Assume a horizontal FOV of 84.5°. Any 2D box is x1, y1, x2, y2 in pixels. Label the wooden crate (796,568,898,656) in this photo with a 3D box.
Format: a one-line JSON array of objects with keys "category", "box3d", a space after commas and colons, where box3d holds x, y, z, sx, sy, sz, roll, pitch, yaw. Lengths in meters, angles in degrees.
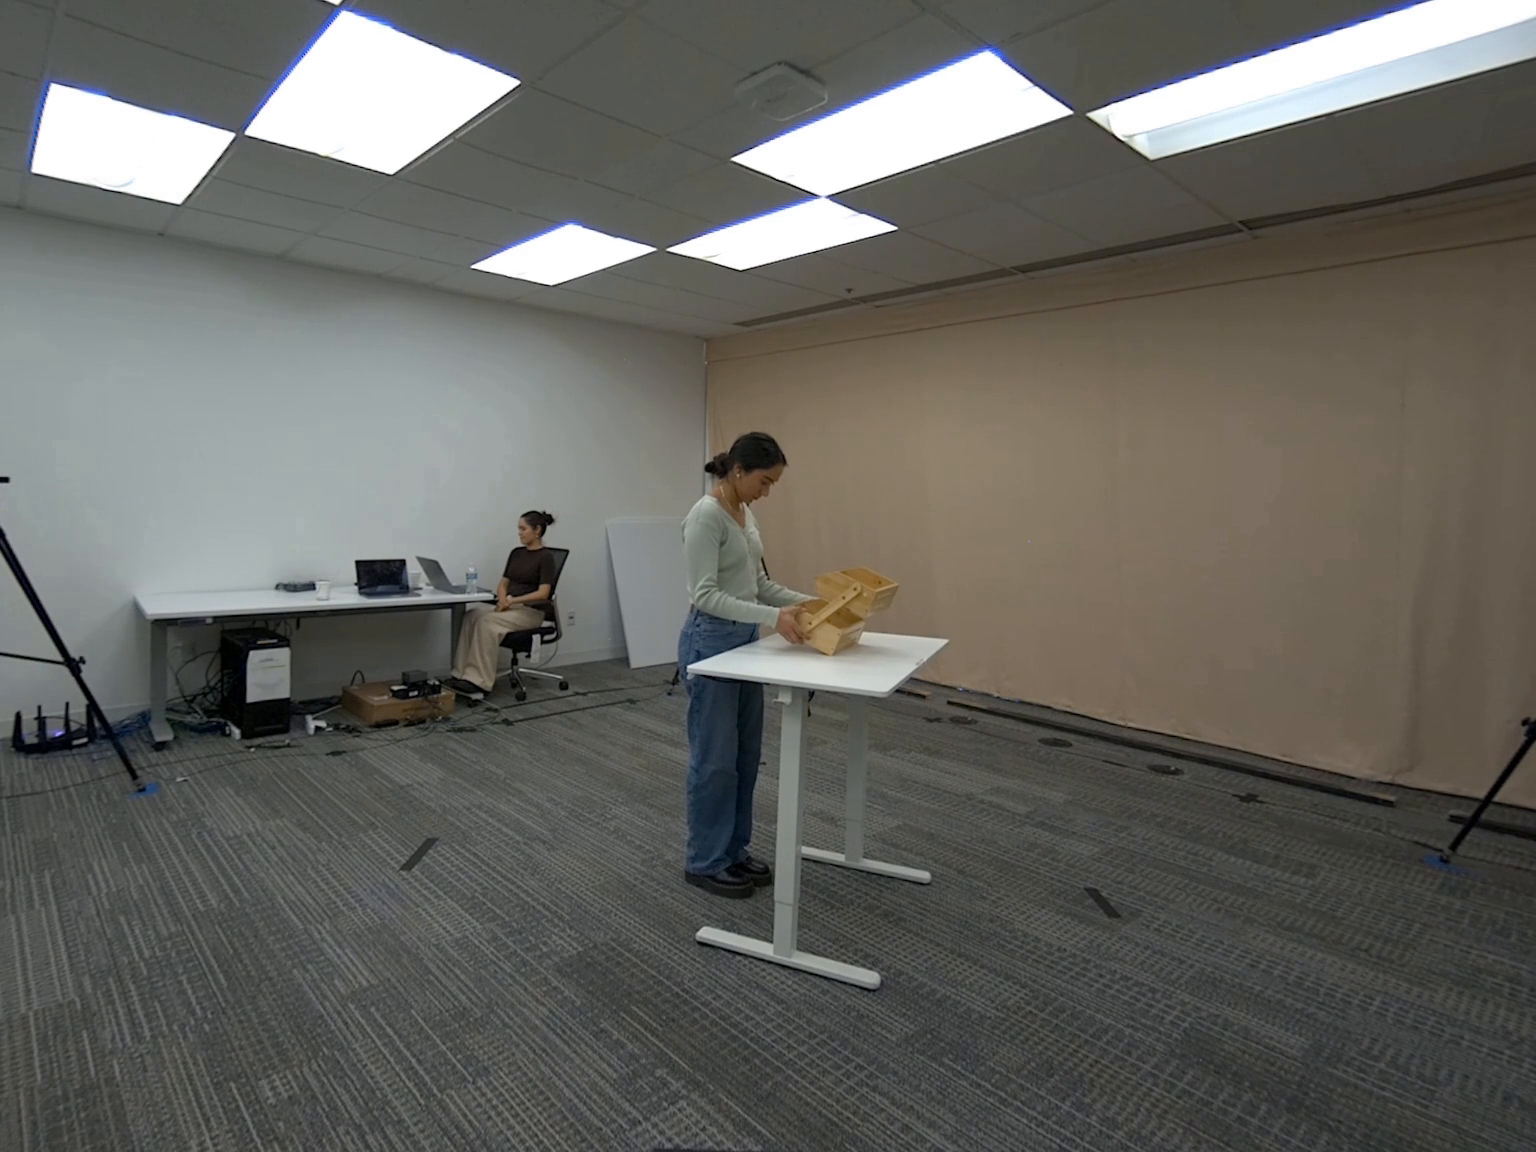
[{"category": "wooden crate", "box3d": [0.223, 0.091, 2.879, 0.308, 0.272, 0.319, 26, 12, 19]}]
